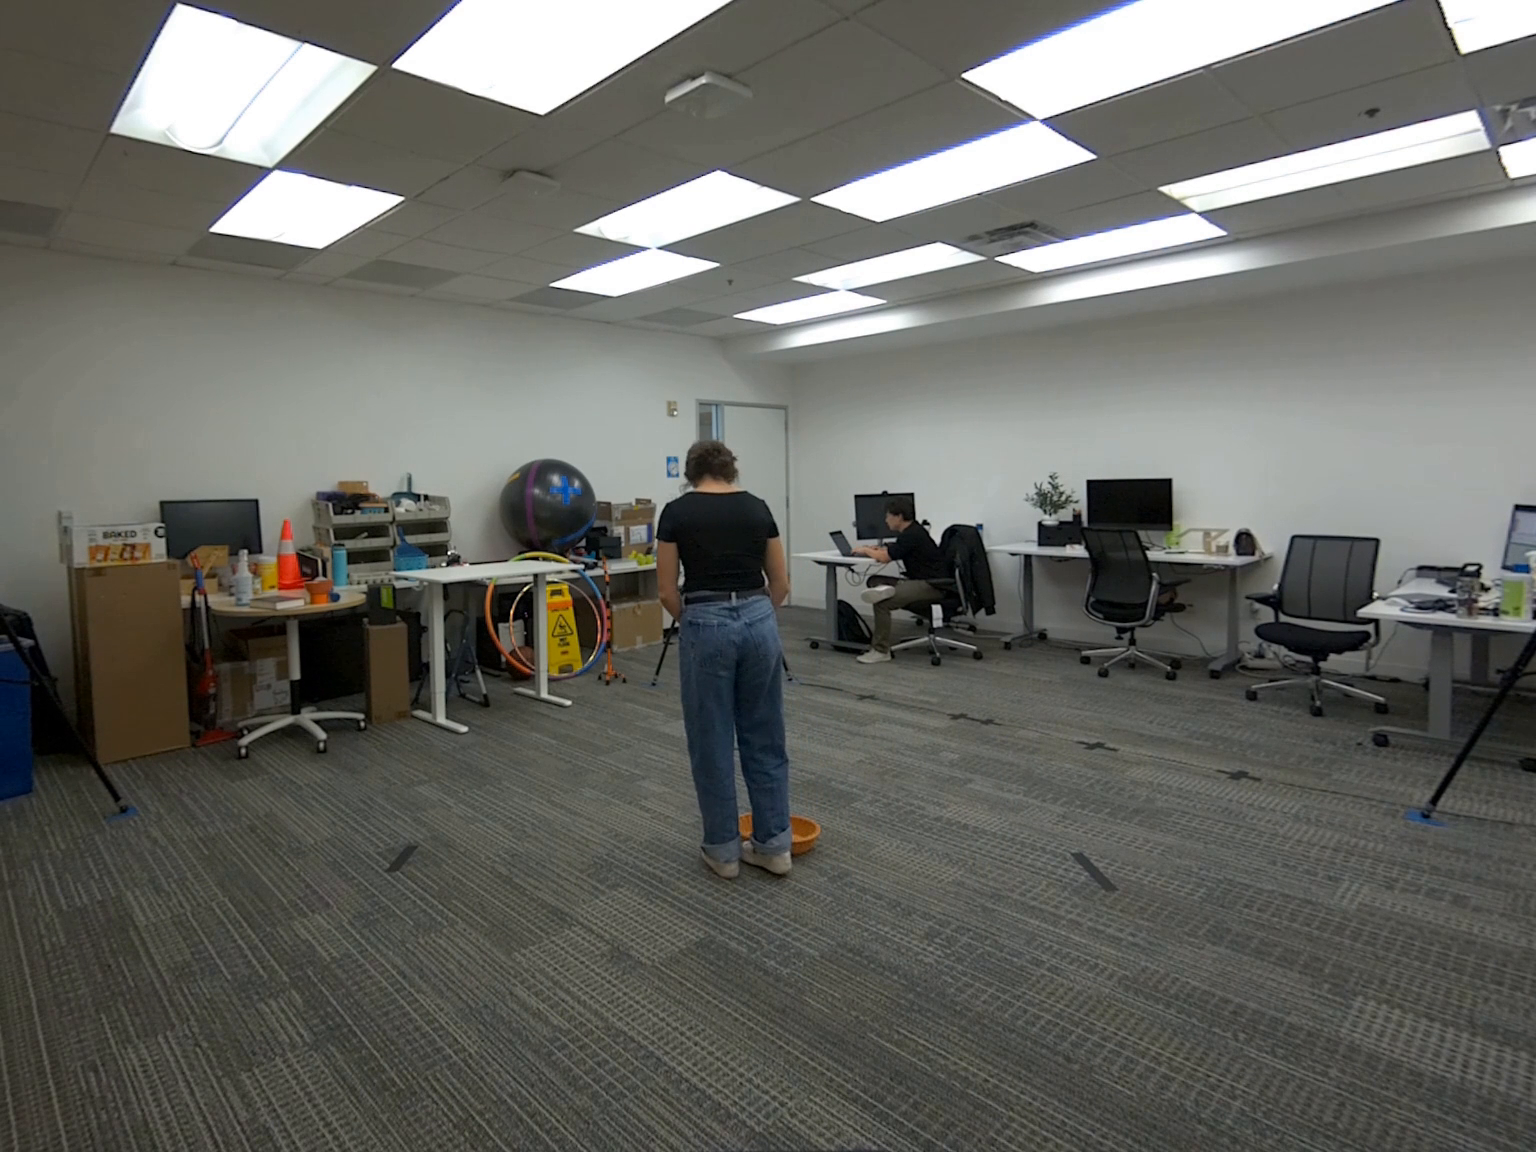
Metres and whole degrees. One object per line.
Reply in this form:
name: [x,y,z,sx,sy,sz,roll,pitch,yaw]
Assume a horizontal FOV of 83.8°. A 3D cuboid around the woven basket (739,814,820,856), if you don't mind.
woven basket: [0.030,0.986,3.260,0.358,0.073,0.248,2,6,24]
